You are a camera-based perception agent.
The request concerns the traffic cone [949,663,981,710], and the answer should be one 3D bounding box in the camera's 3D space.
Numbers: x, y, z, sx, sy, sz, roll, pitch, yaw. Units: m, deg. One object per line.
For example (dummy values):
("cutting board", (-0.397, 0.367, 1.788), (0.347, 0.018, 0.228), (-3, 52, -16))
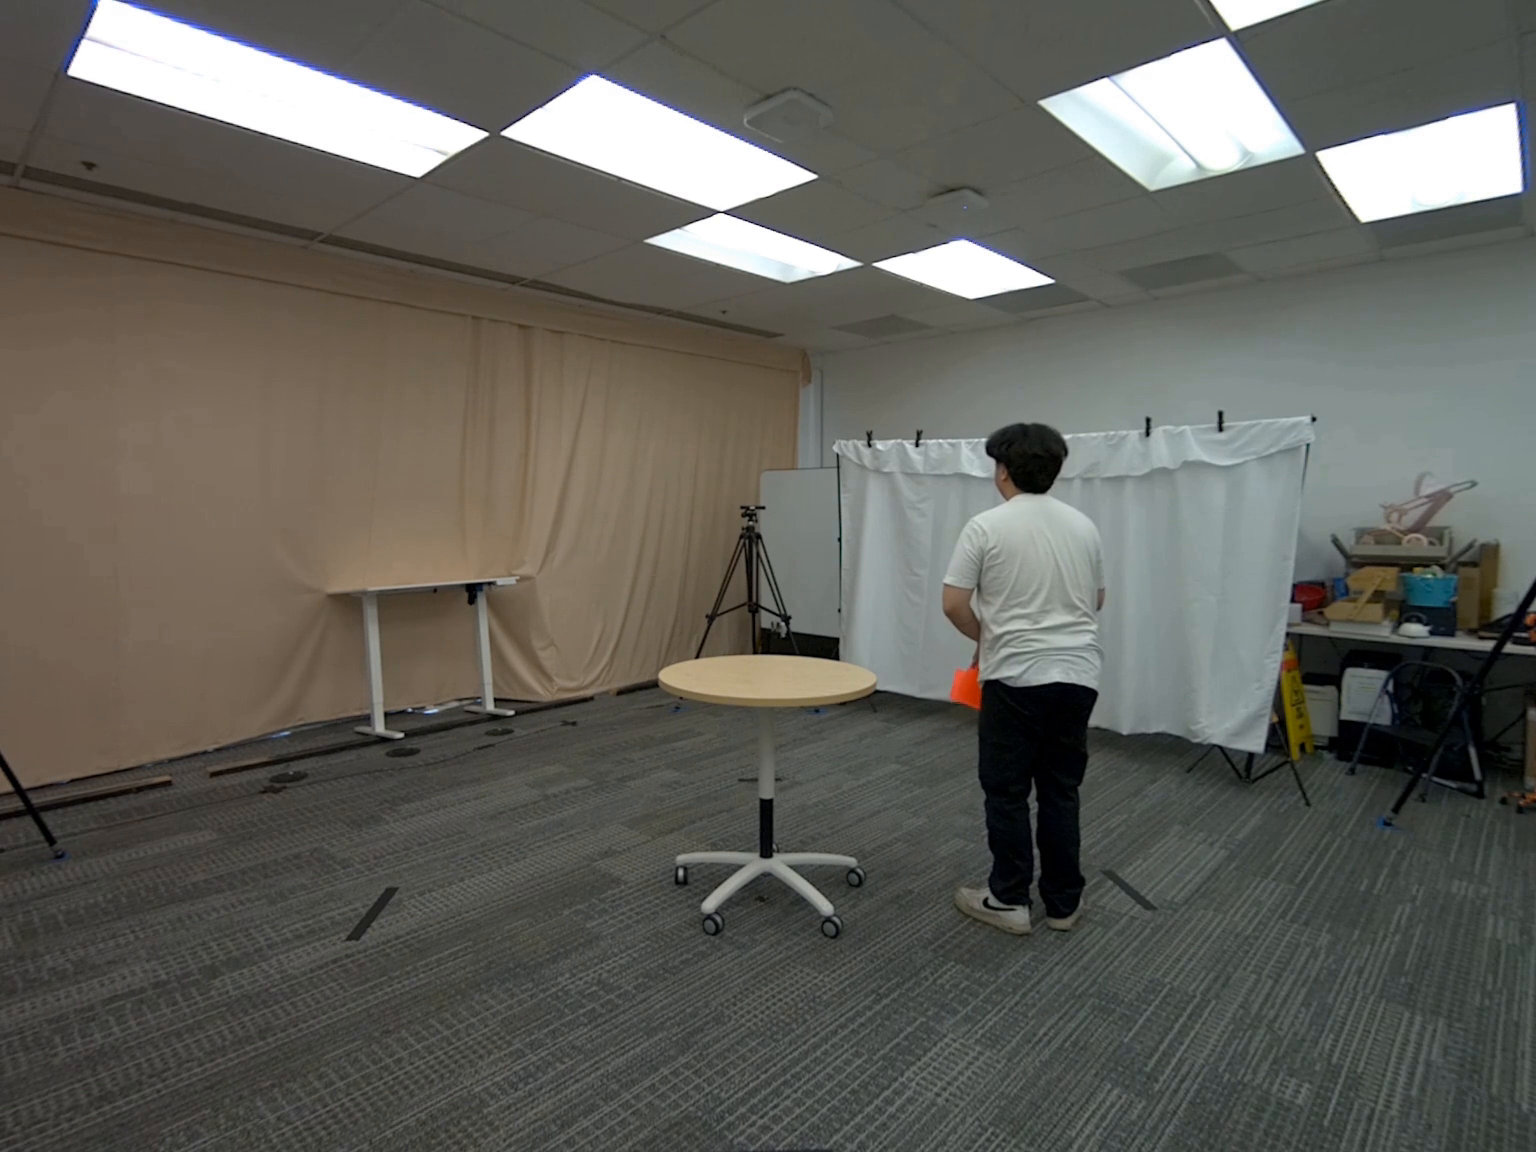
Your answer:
("traffic cone", (0.831, 0.278, 3.040), (0.210, 0.380, 0.200), (24, 30, 18))
